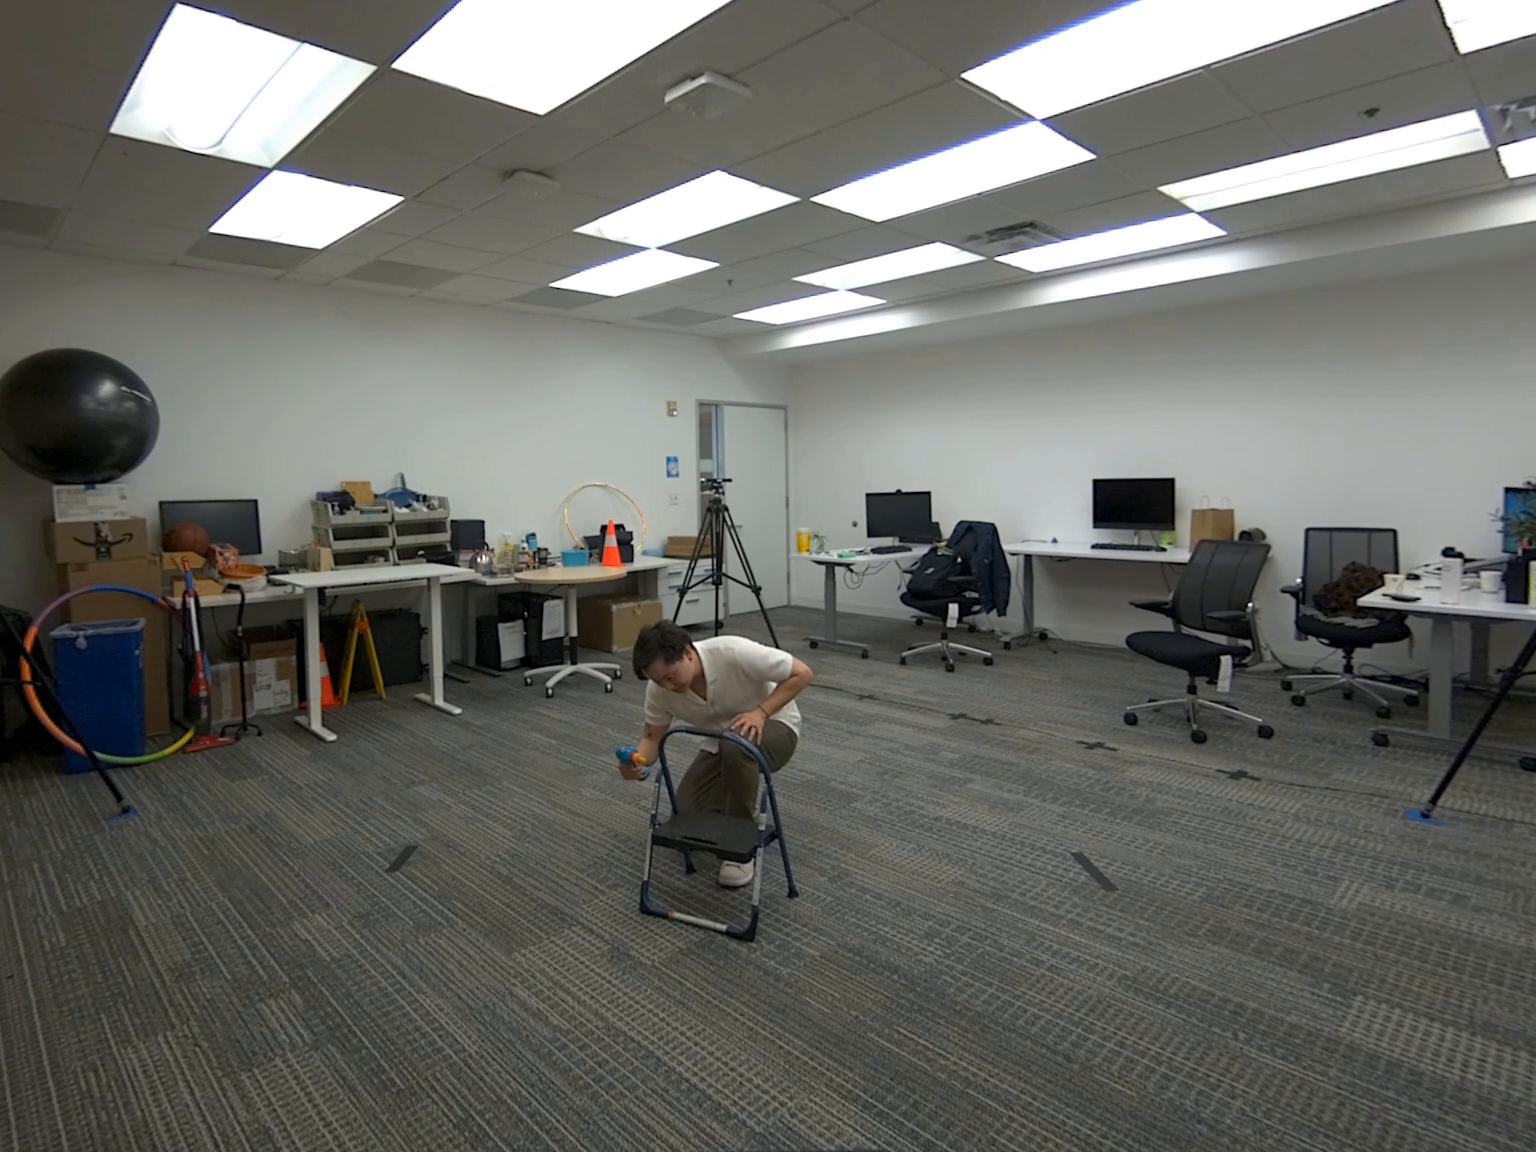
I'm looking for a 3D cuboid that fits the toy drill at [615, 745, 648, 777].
[{"bbox_3d":[-0.465,0.651,3.006,0.175,0.061,0.141,10,-34,47],"label":"toy drill"}]
